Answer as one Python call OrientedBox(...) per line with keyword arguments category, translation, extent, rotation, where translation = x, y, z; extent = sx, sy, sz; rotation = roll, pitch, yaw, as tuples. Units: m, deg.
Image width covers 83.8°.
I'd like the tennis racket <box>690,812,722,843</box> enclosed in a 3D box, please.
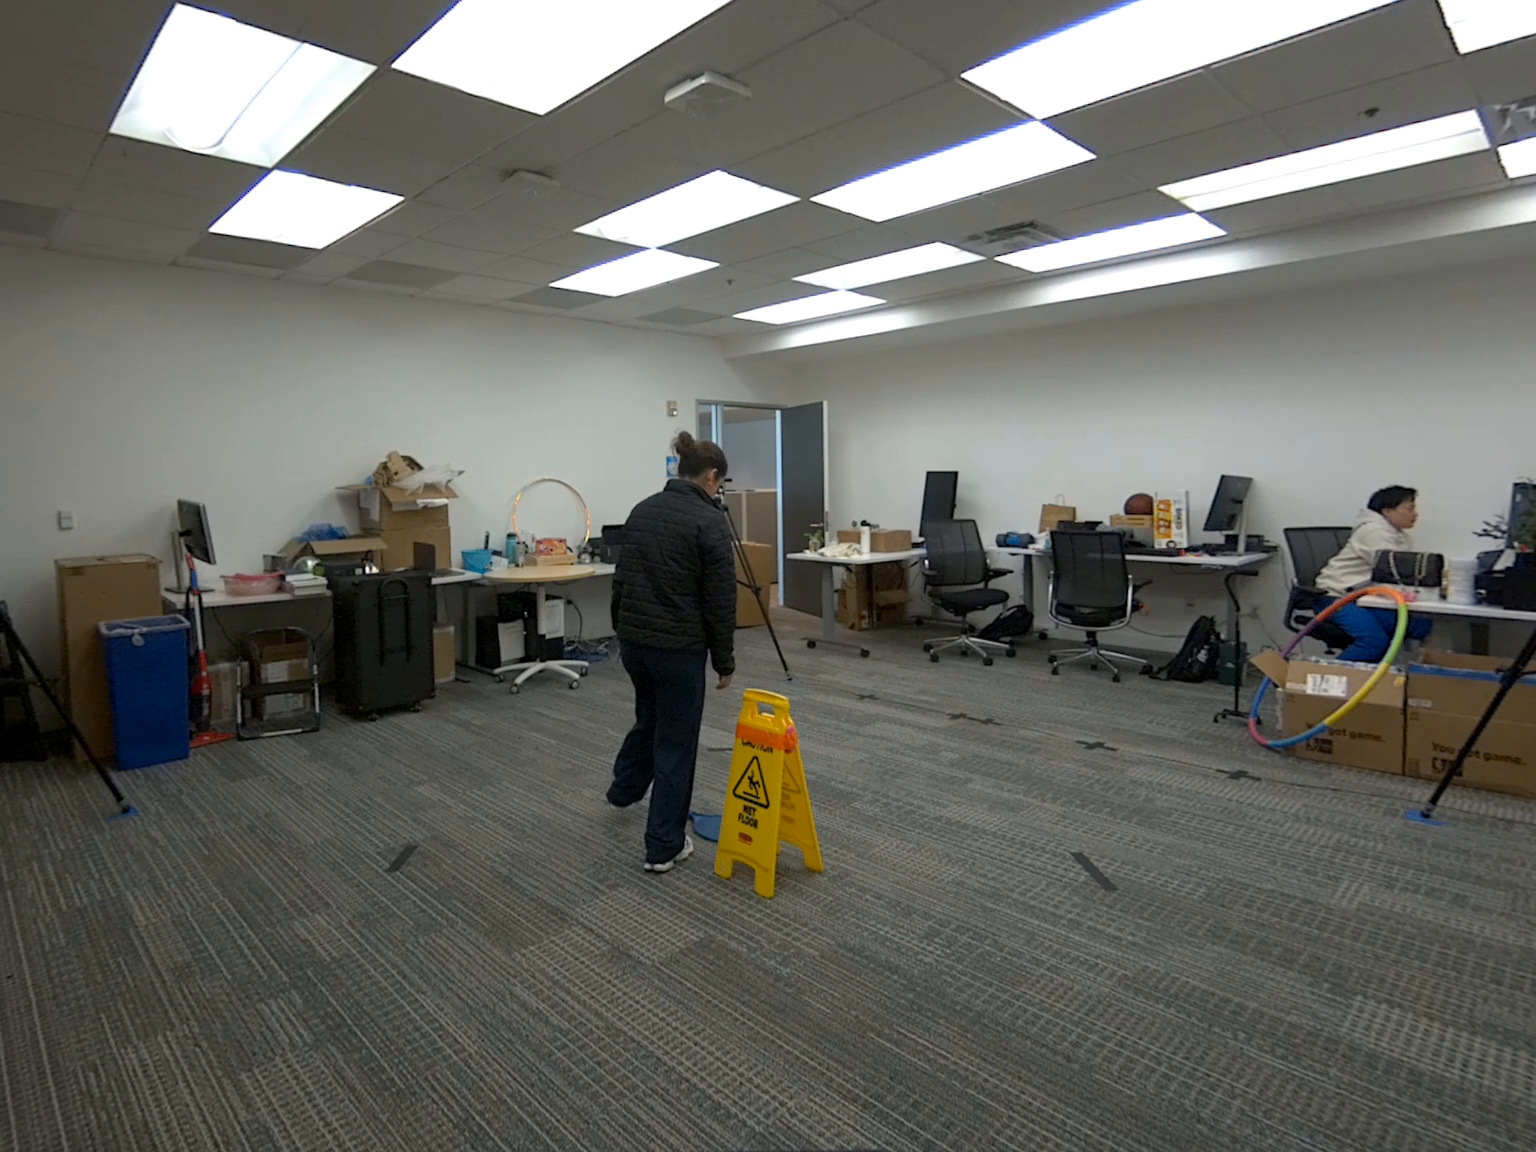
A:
OrientedBox(category="tennis racket", translation=(-0.238, 0.991, 3.462), extent=(0.208, 0.031, 0.447), rotation=(-5, 9, -45))
